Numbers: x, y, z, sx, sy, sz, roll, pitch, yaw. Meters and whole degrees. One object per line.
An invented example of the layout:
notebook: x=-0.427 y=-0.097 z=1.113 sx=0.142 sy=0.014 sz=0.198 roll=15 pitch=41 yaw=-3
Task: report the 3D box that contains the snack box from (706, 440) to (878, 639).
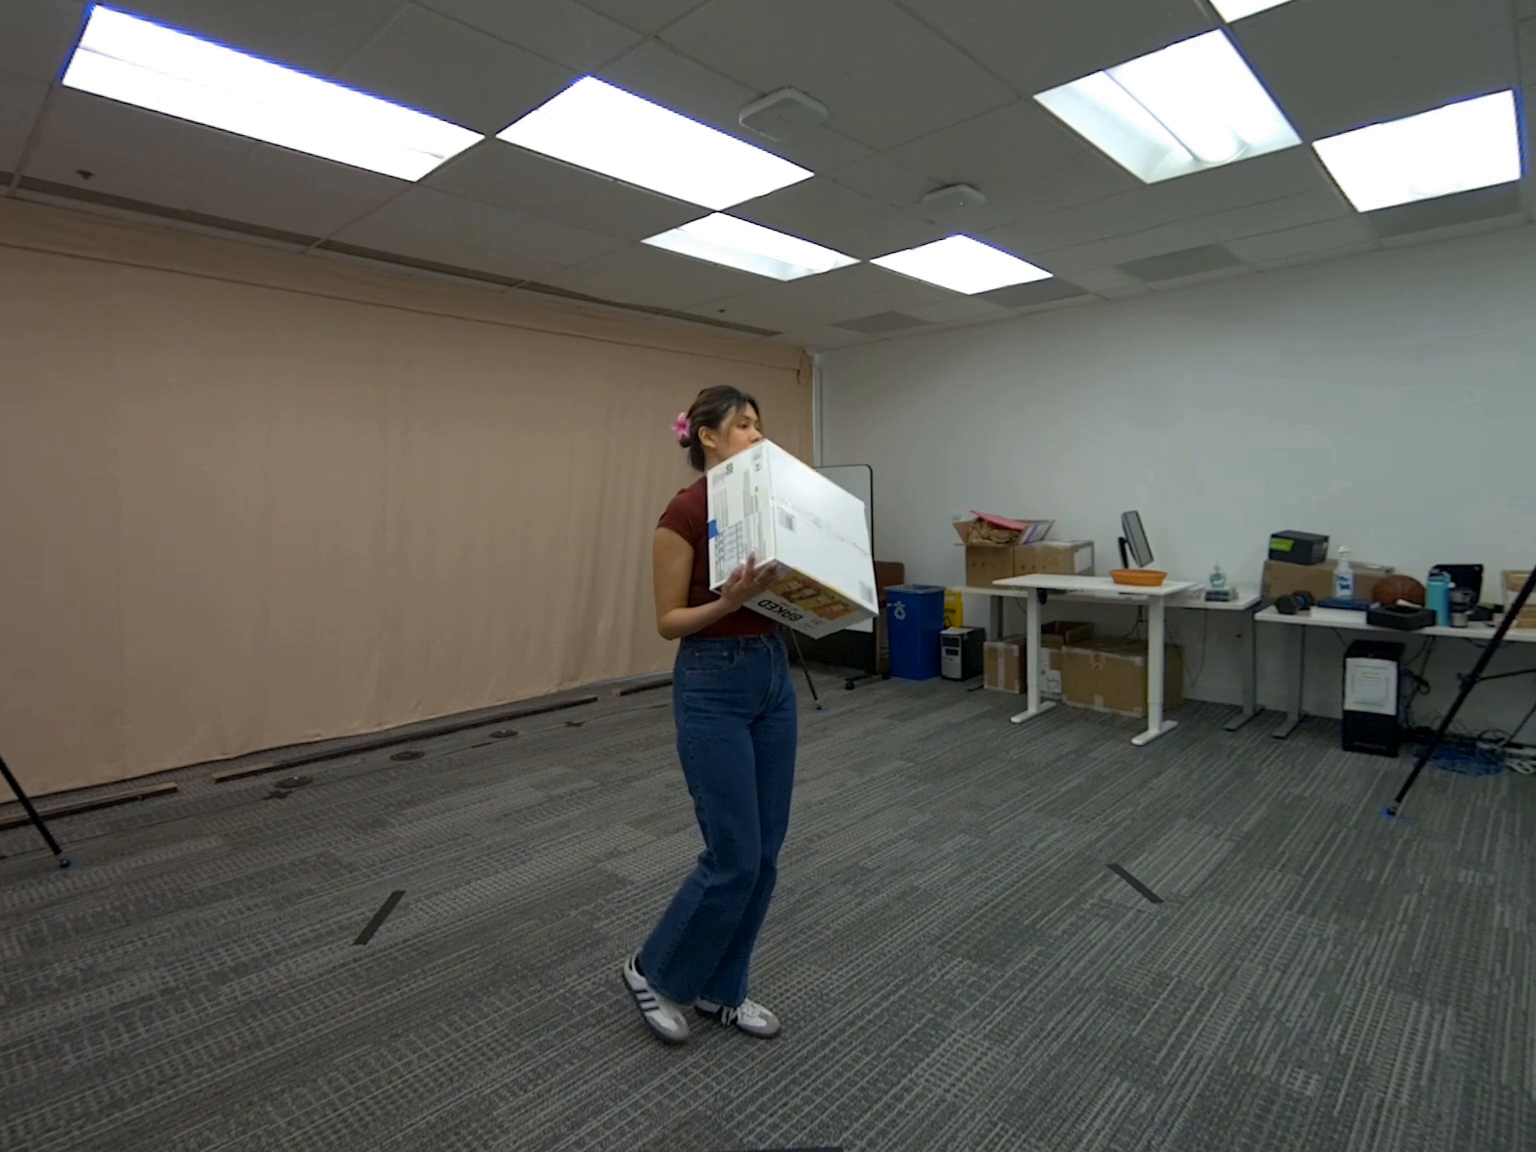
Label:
snack box: x=0.063 y=-0.081 z=2.119 sx=0.210 sy=0.346 sz=0.390 roll=-26 pitch=-37 yaw=34
